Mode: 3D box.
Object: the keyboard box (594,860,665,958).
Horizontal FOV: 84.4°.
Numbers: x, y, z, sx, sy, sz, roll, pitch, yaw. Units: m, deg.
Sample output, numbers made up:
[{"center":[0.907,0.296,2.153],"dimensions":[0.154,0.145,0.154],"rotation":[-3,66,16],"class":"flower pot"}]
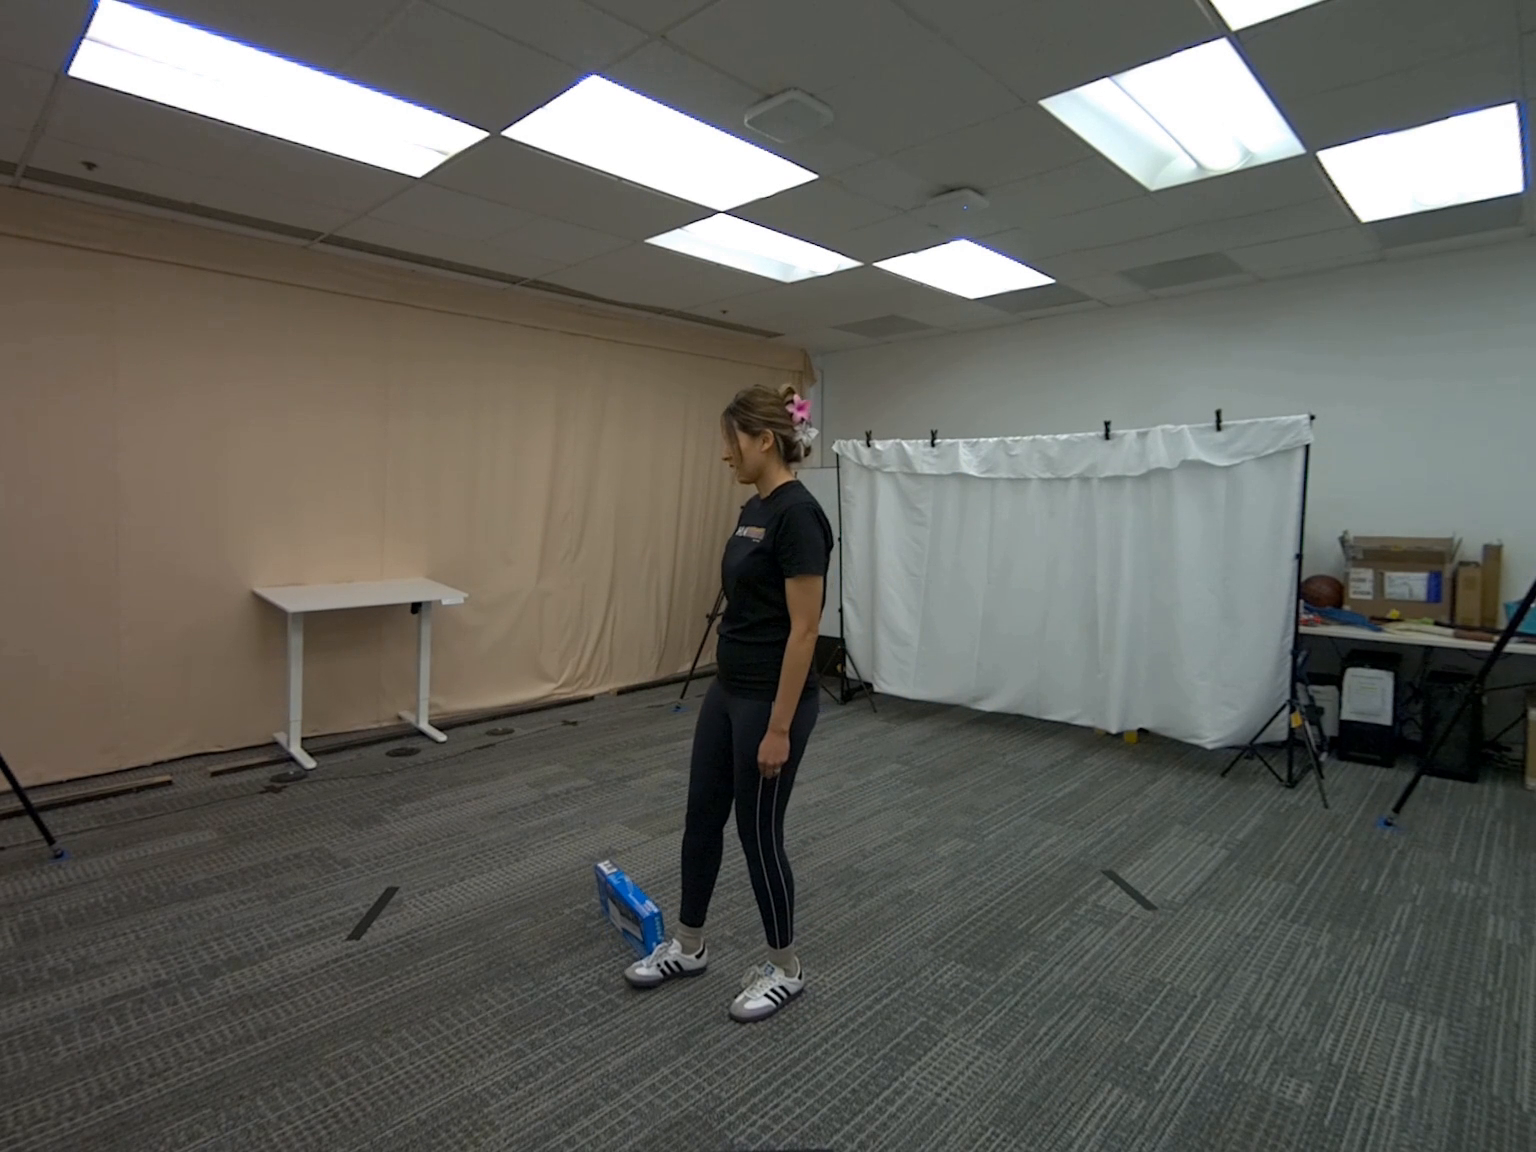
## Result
[{"center":[-0.447,1.083,2.712],"dimensions":[0.058,0.175,0.450],"rotation":[-11,9,-29],"class":"keyboard box"}]
